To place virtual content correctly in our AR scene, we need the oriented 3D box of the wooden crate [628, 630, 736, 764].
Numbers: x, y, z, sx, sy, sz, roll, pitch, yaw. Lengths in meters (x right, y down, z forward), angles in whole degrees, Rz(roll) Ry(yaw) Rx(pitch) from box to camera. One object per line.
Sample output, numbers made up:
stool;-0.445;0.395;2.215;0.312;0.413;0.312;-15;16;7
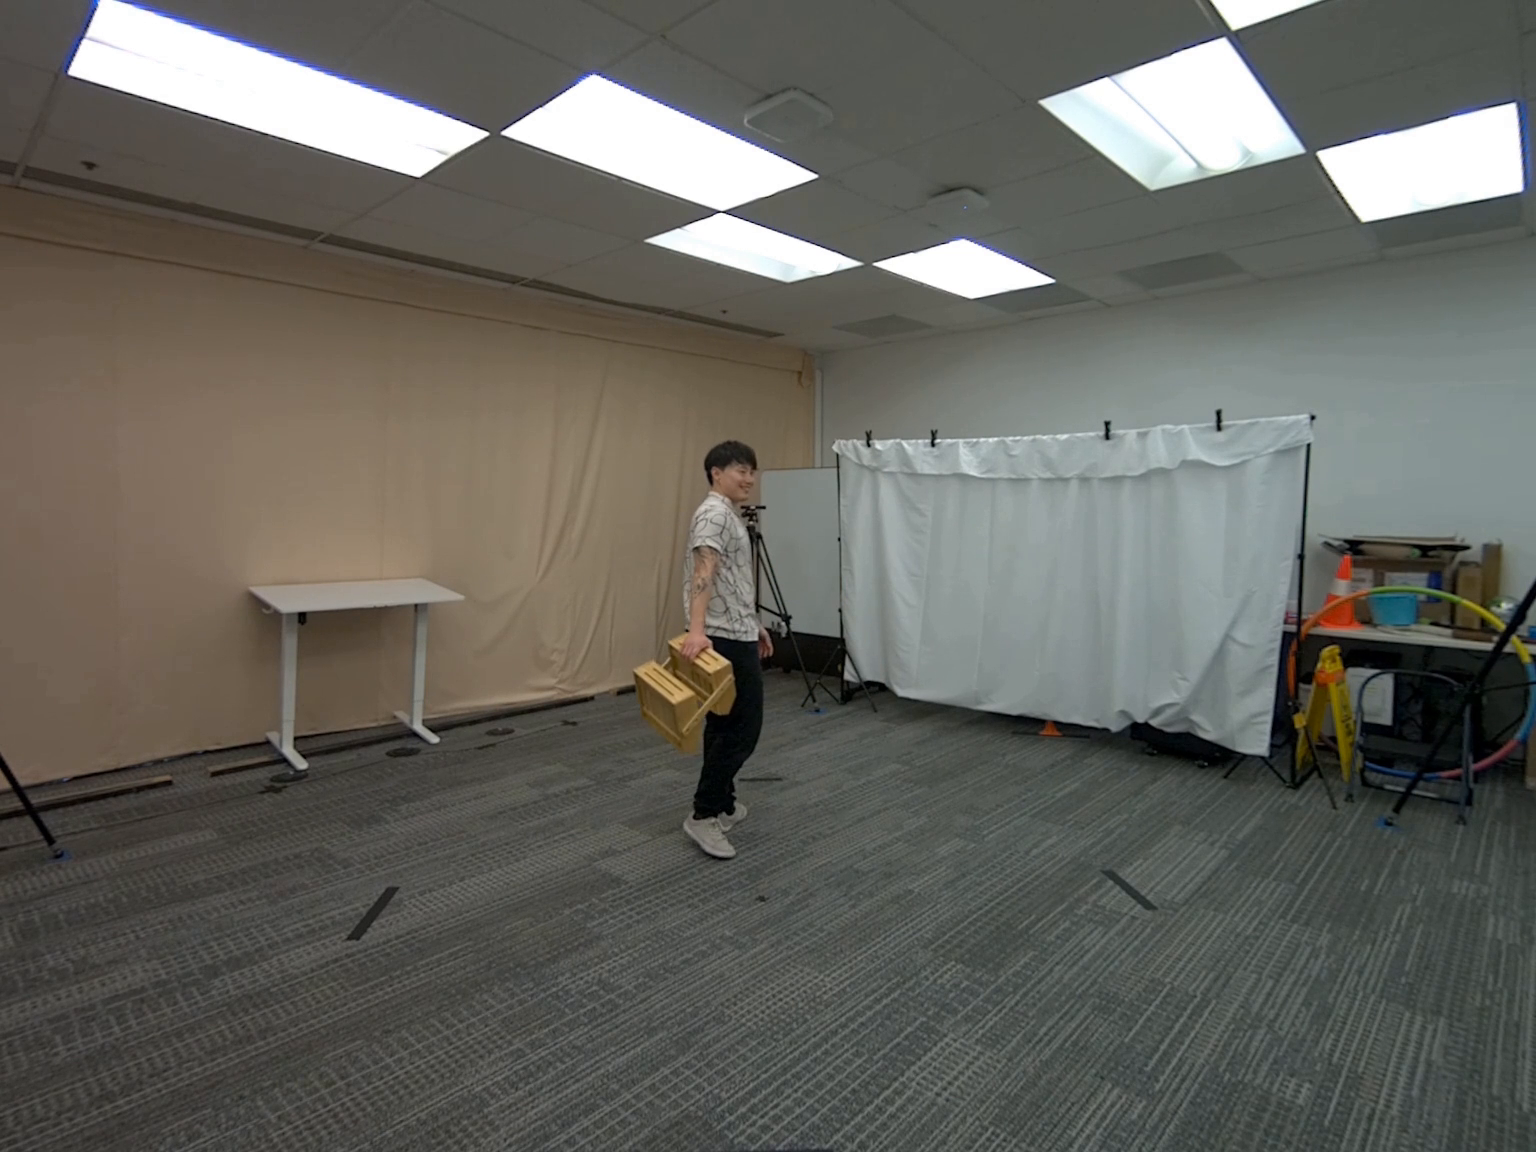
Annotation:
wooden crate;-0.303;0.444;3.201;0.268;0.296;0.336;-25;32;-29
